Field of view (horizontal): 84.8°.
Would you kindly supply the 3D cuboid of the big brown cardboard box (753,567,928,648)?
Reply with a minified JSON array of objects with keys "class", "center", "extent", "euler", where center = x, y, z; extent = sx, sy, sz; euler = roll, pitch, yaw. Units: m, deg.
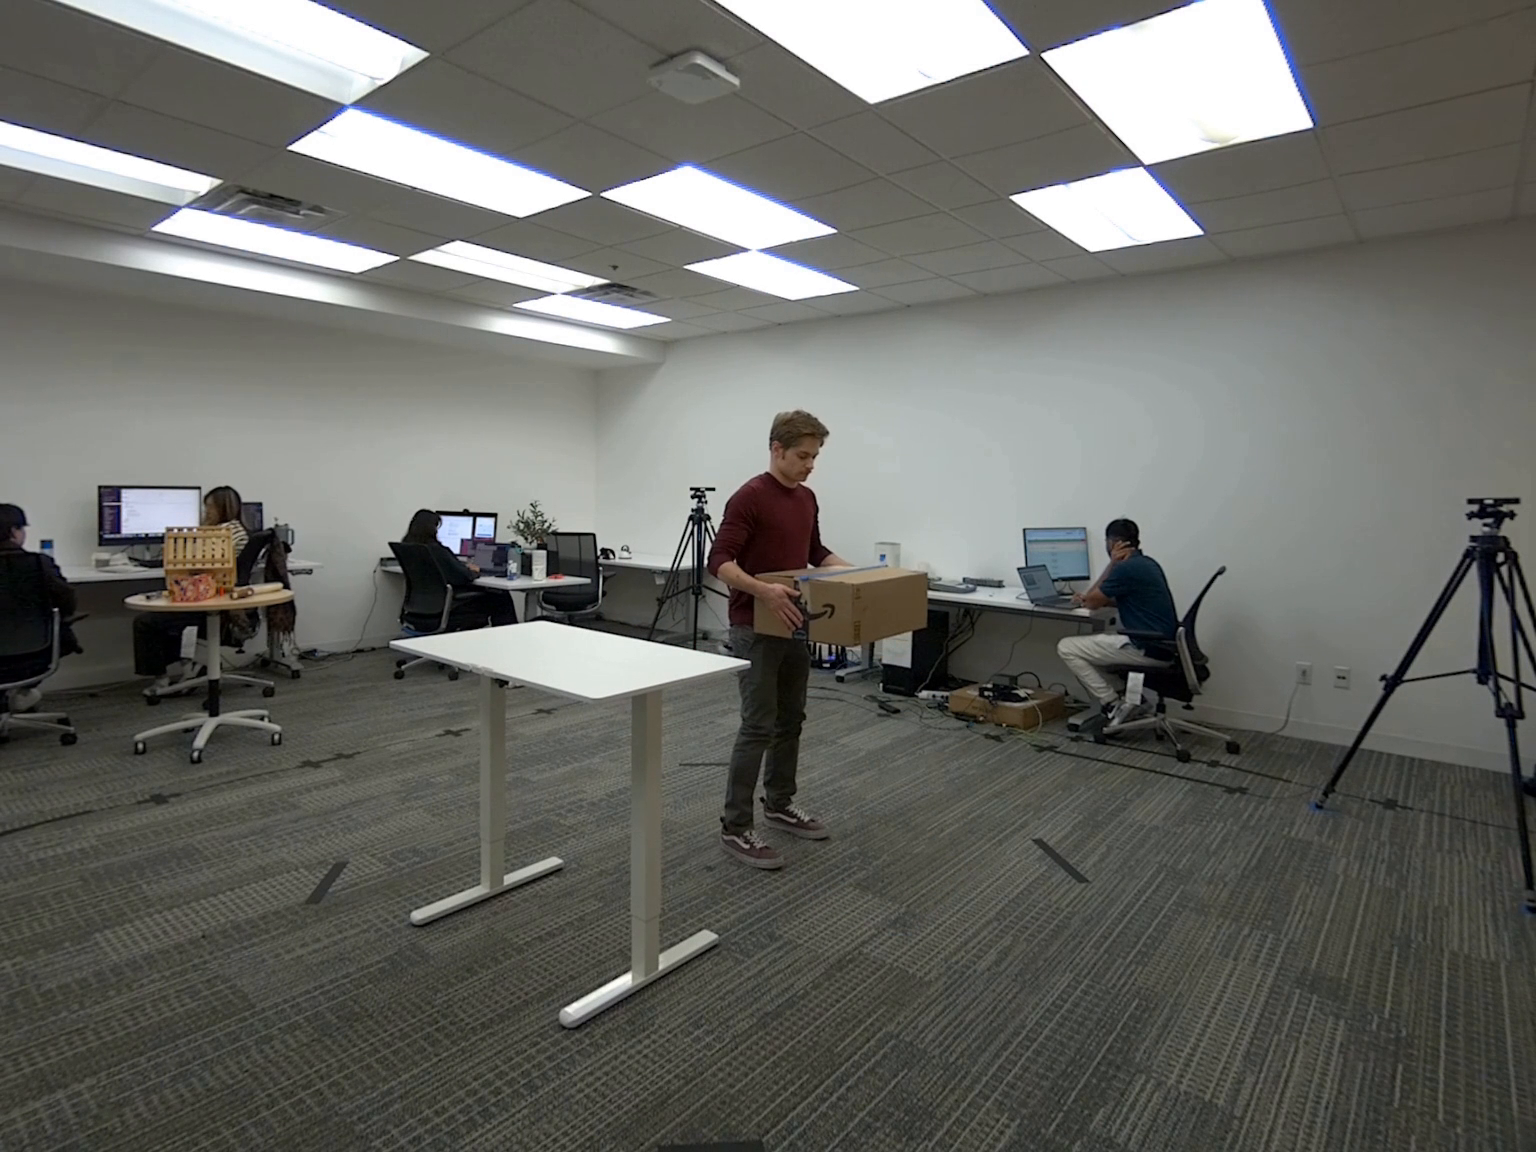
[{"class":"big brown cardboard box","center":[0.277,0.099,3.169],"extent":[0.431,0.232,0.572],"euler":[4,7,37]}]
